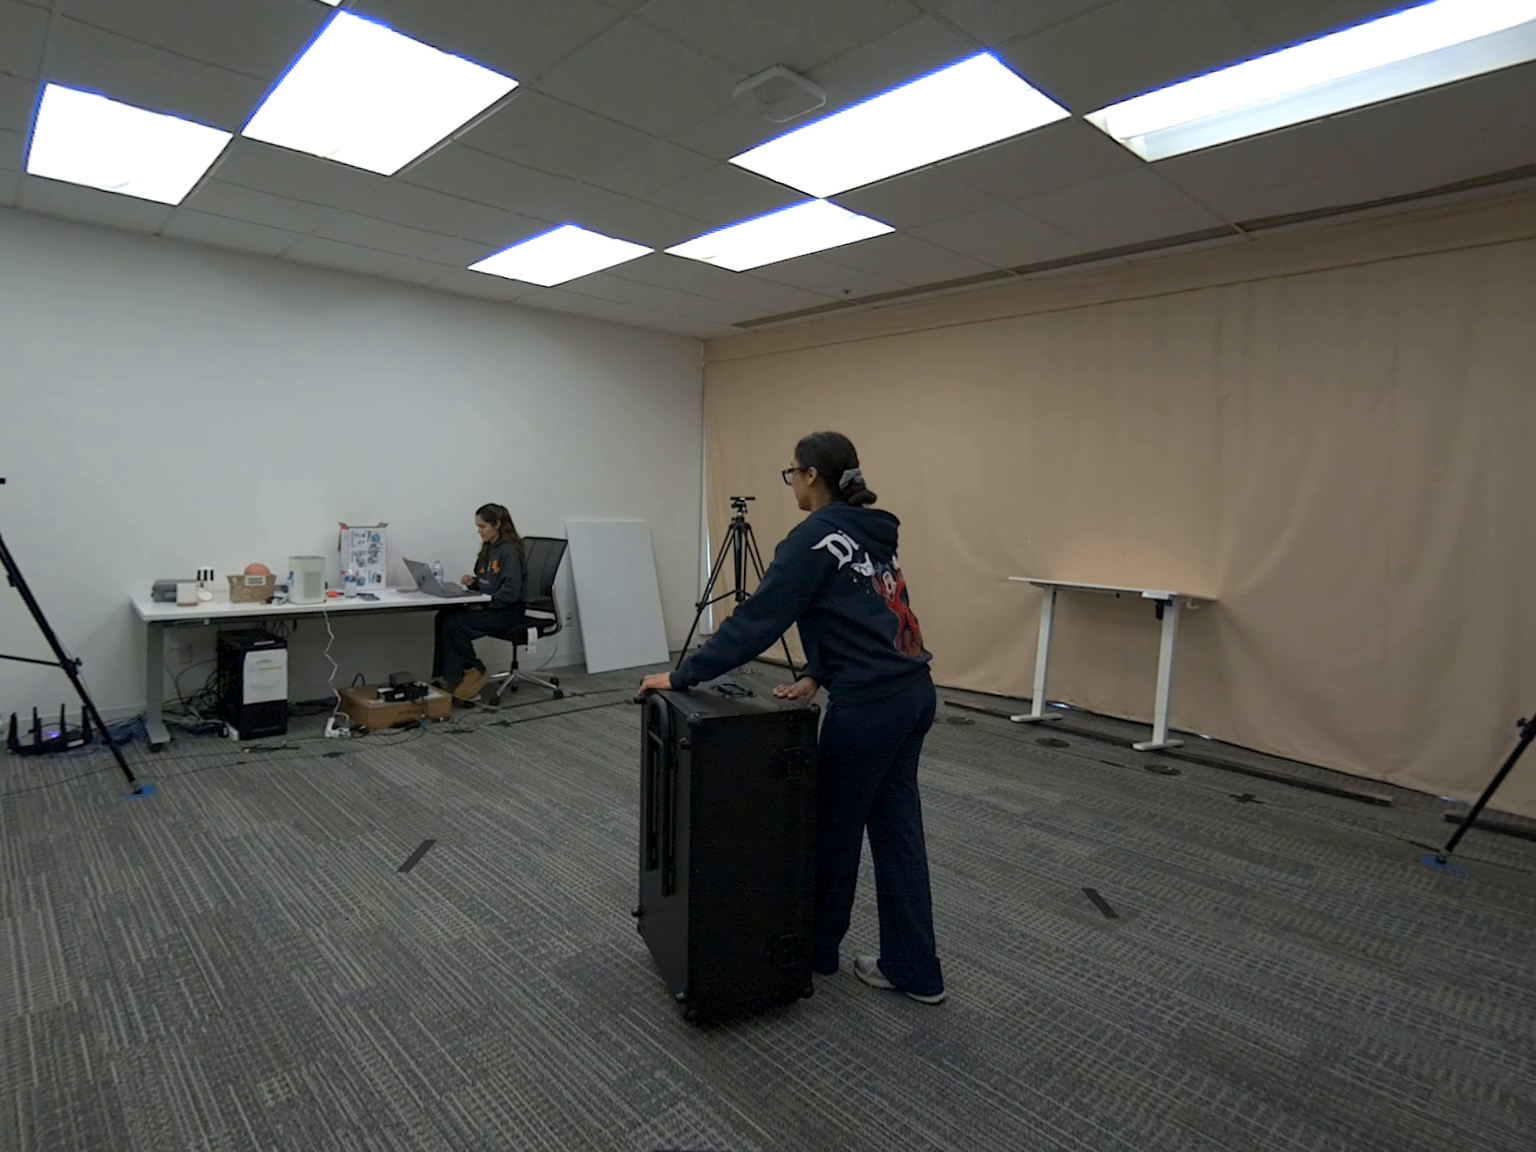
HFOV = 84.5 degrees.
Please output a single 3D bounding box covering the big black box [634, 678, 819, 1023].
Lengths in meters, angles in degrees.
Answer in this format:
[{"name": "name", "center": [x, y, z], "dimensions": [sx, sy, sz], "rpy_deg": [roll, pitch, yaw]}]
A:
[{"name": "big black box", "center": [-0.137, 0.749, 2.367], "dimensions": [0.390, 0.859, 0.531], "rpy_deg": [-1, 4, -23]}]
